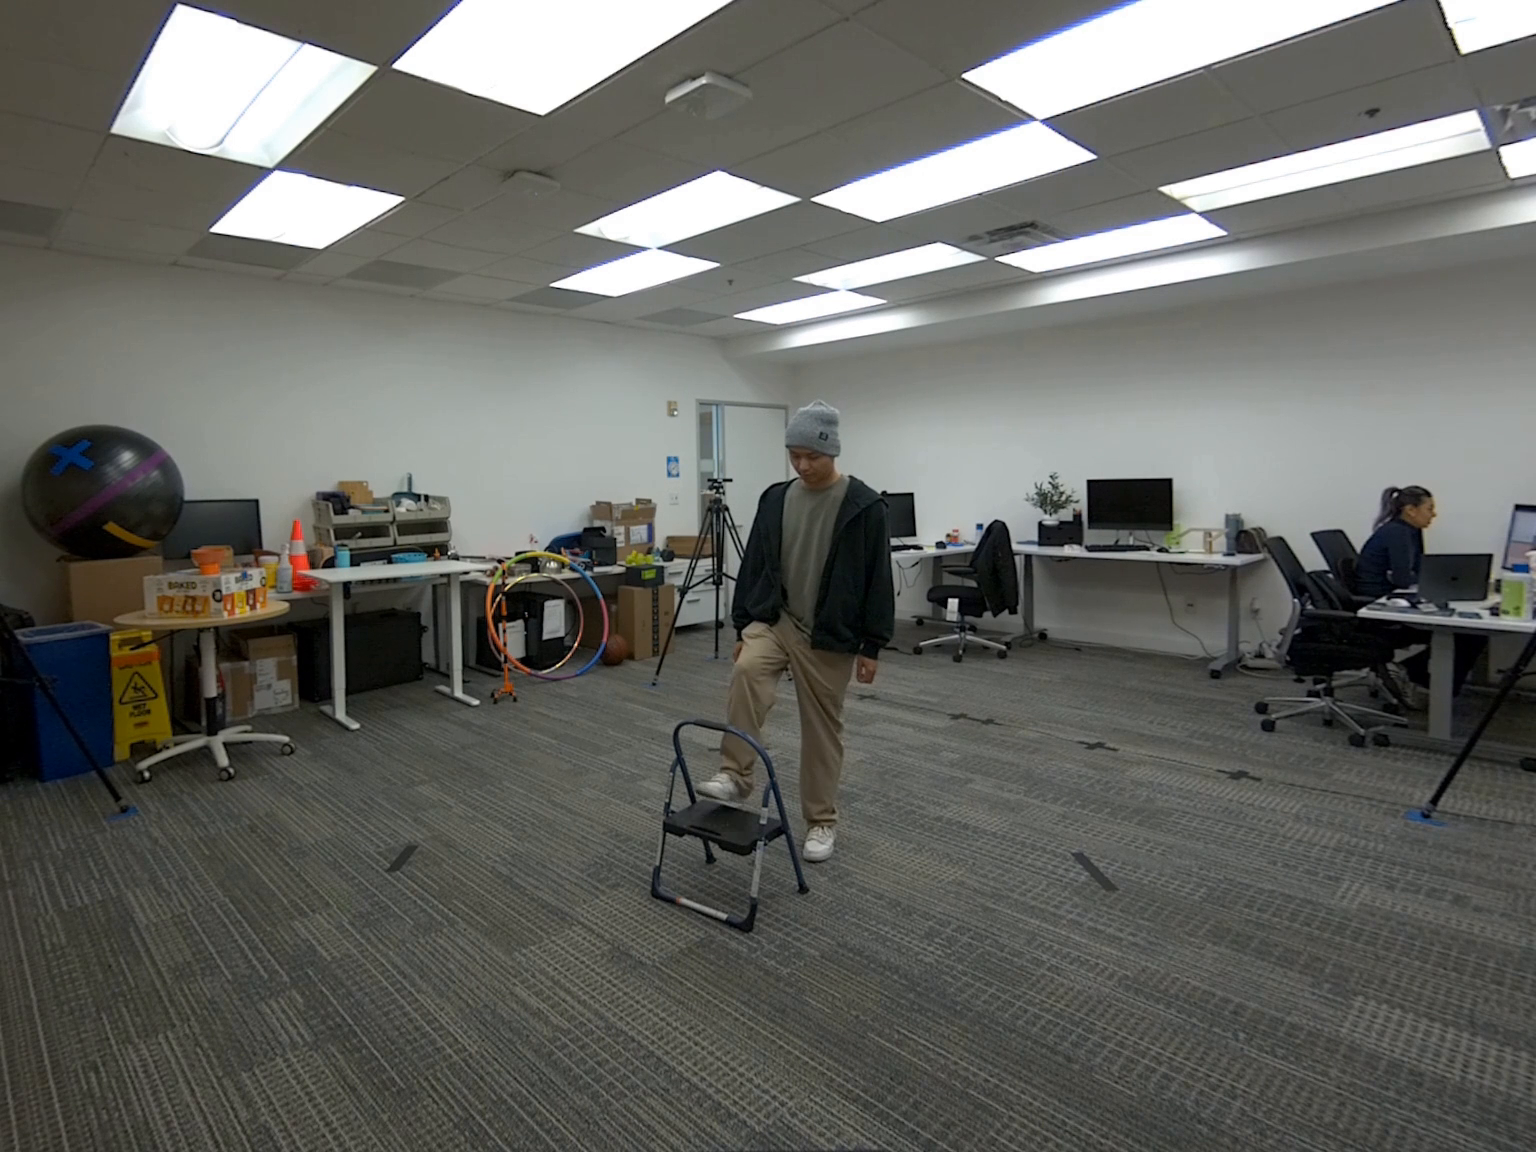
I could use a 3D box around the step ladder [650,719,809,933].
[{"bbox_3d":[-0.135,0.770,2.862,0.443,0.603,0.341,2,6,35],"label":"step ladder"}]
